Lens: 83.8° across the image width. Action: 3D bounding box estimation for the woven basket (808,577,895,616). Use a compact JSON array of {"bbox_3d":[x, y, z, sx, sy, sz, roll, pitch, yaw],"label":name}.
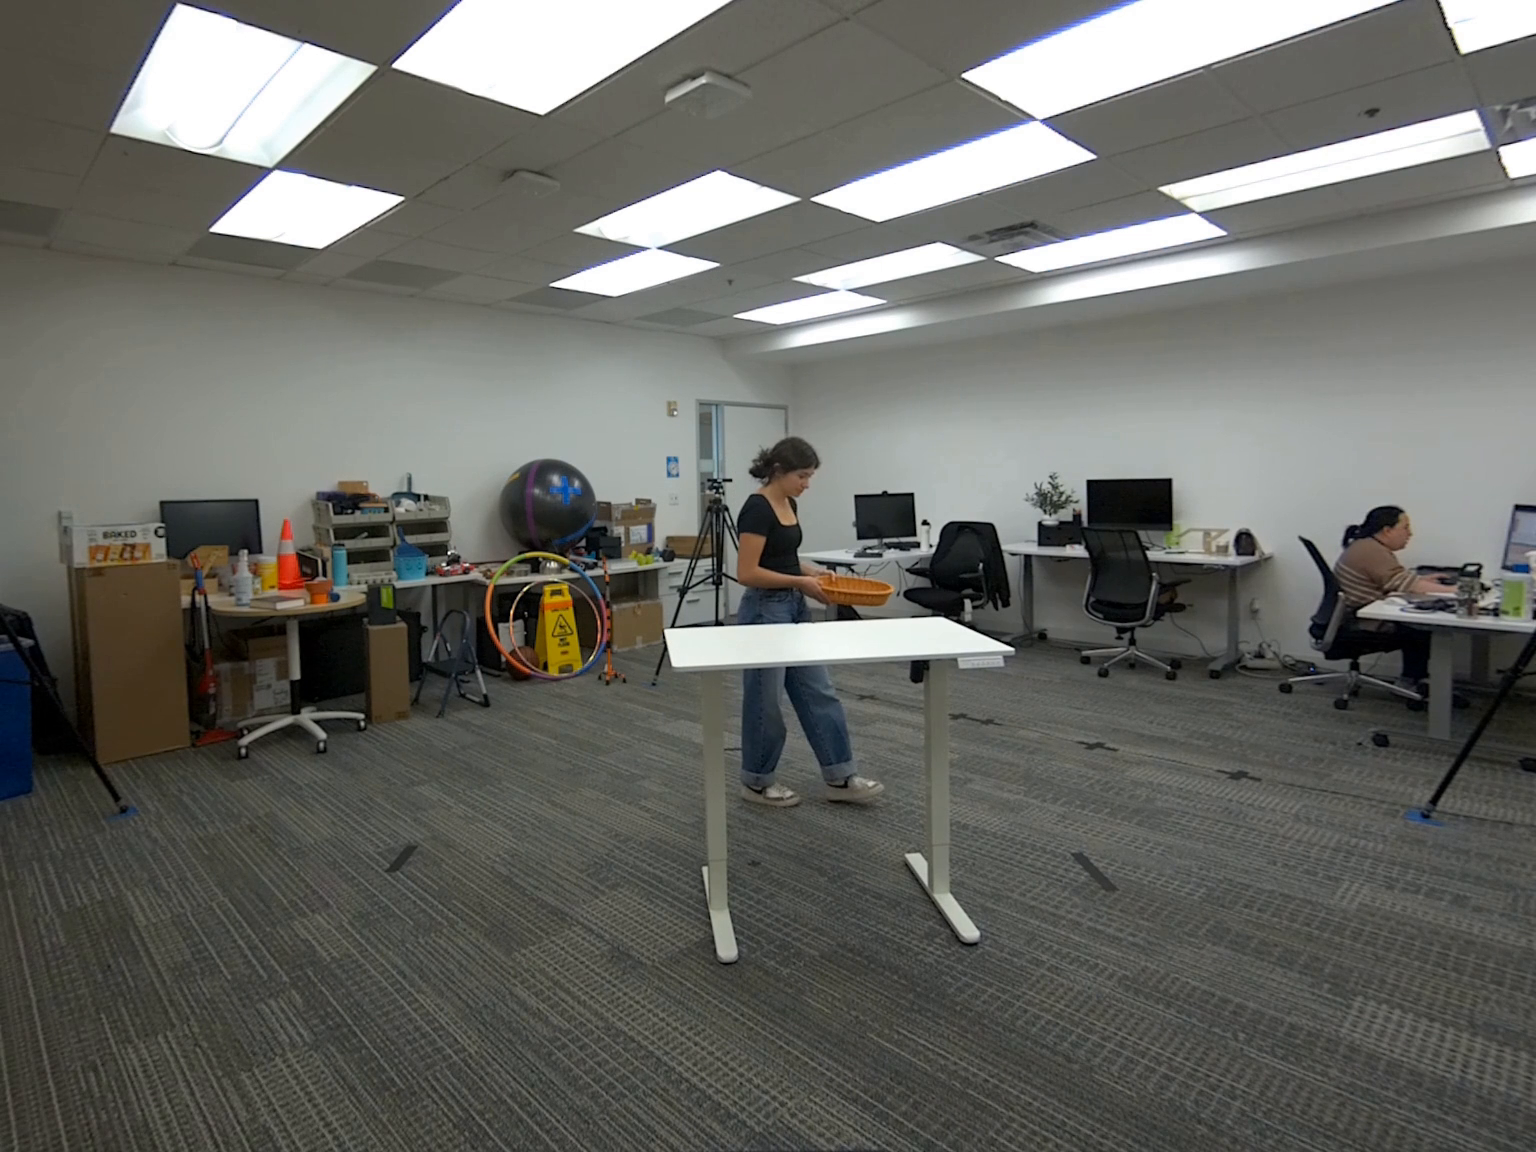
[{"bbox_3d":[0.340,0.075,3.562,0.354,0.073,0.253,5,13,8],"label":"woven basket"}]
